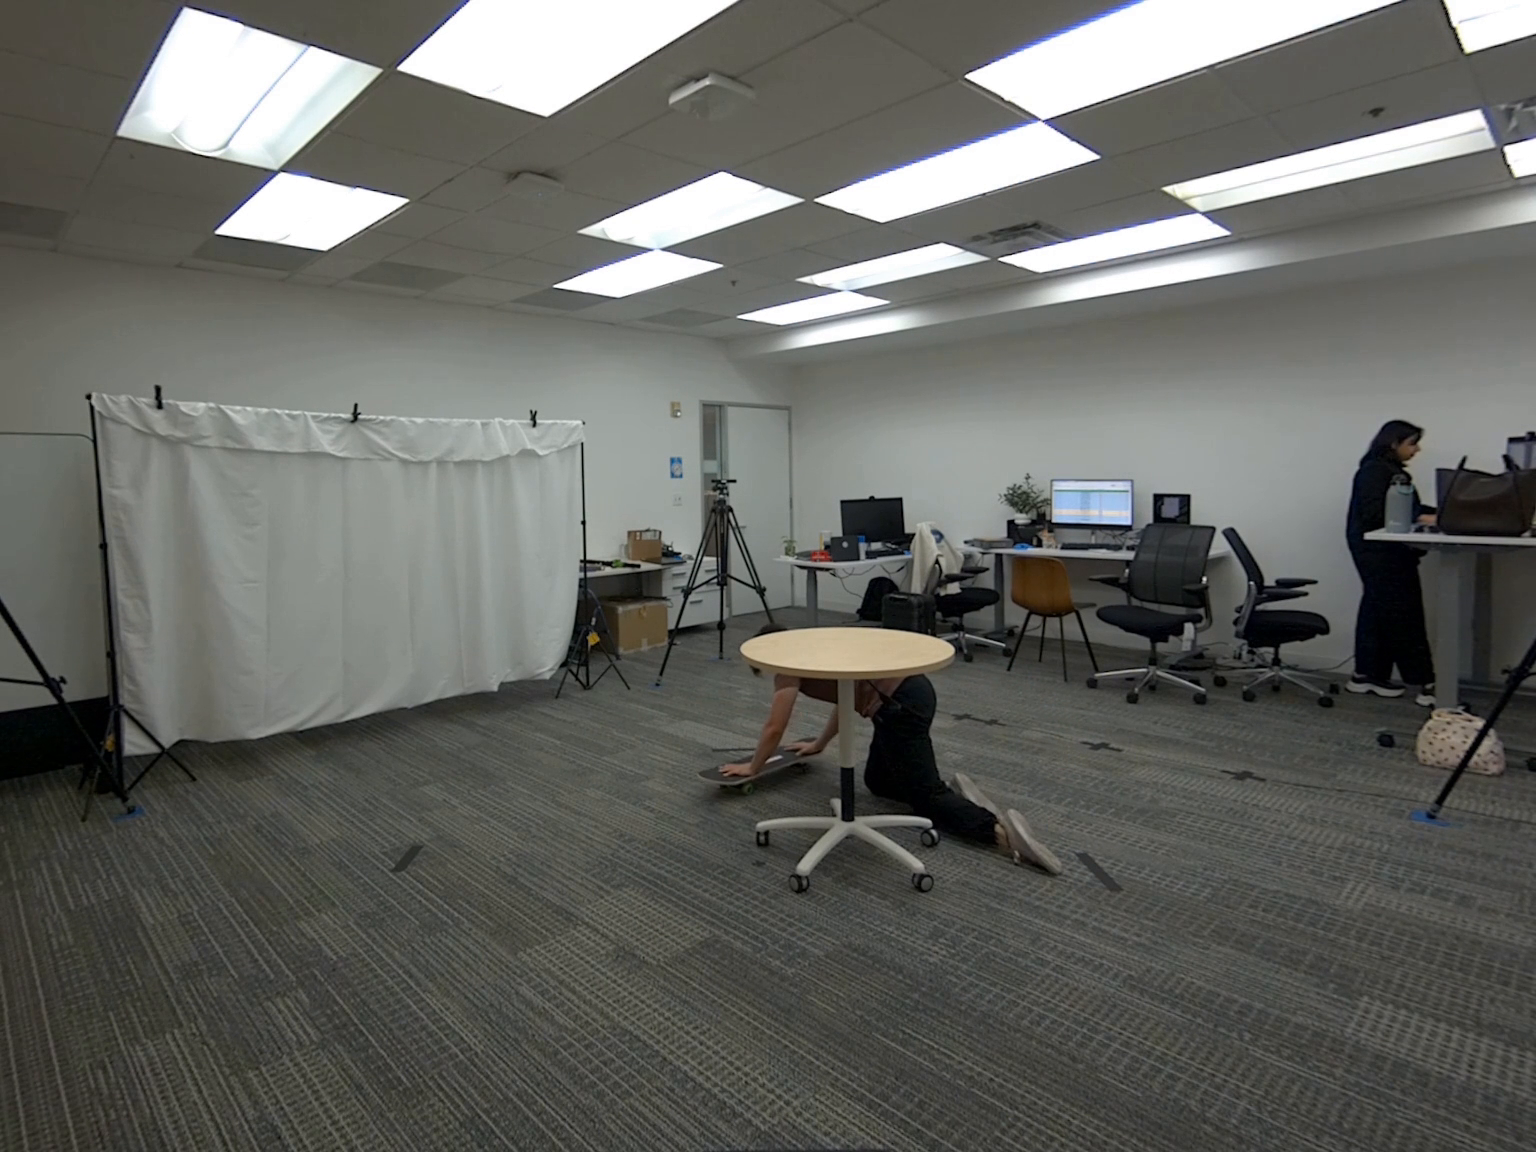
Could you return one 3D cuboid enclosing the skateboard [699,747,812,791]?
[{"bbox_3d":[-0.010,0.892,3.973,0.765,0.110,0.199,-7,8,-44],"label":"skateboard"}]
